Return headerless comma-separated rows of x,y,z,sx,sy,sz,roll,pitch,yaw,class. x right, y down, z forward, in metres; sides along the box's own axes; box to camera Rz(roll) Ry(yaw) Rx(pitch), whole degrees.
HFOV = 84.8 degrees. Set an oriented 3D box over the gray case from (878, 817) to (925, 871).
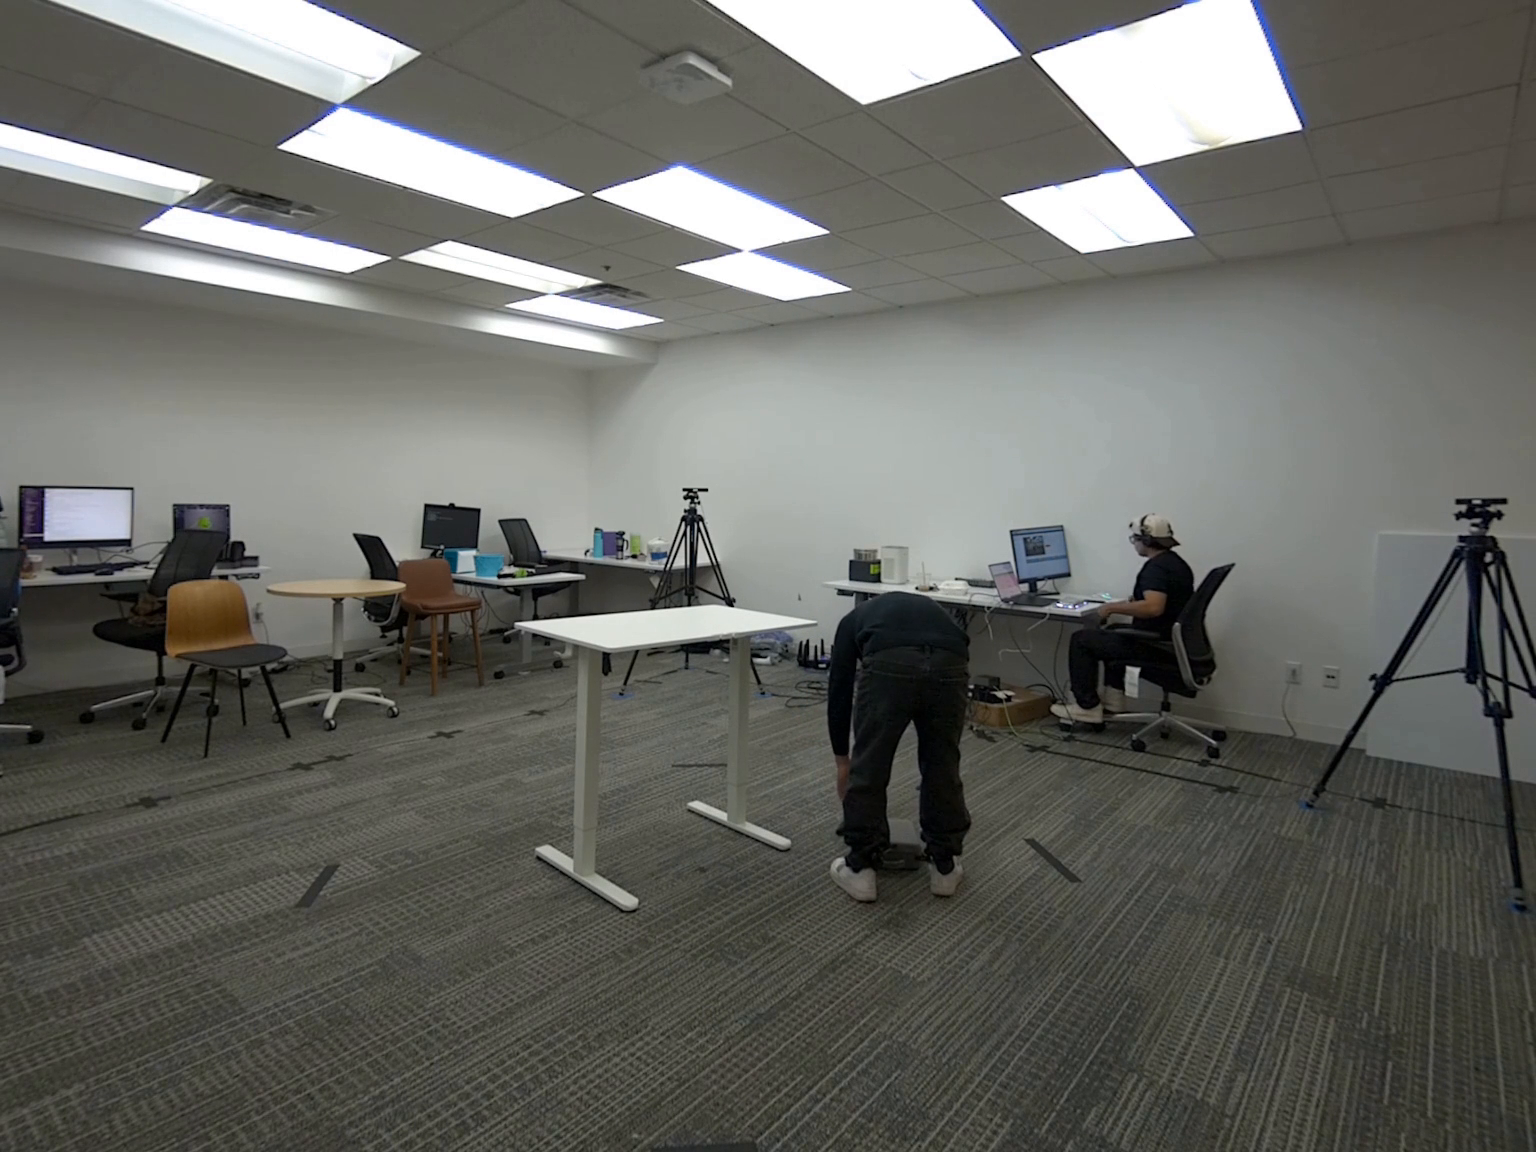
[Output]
0.440,1.009,3.254,0.258,0.104,0.261,1,7,3,gray case
